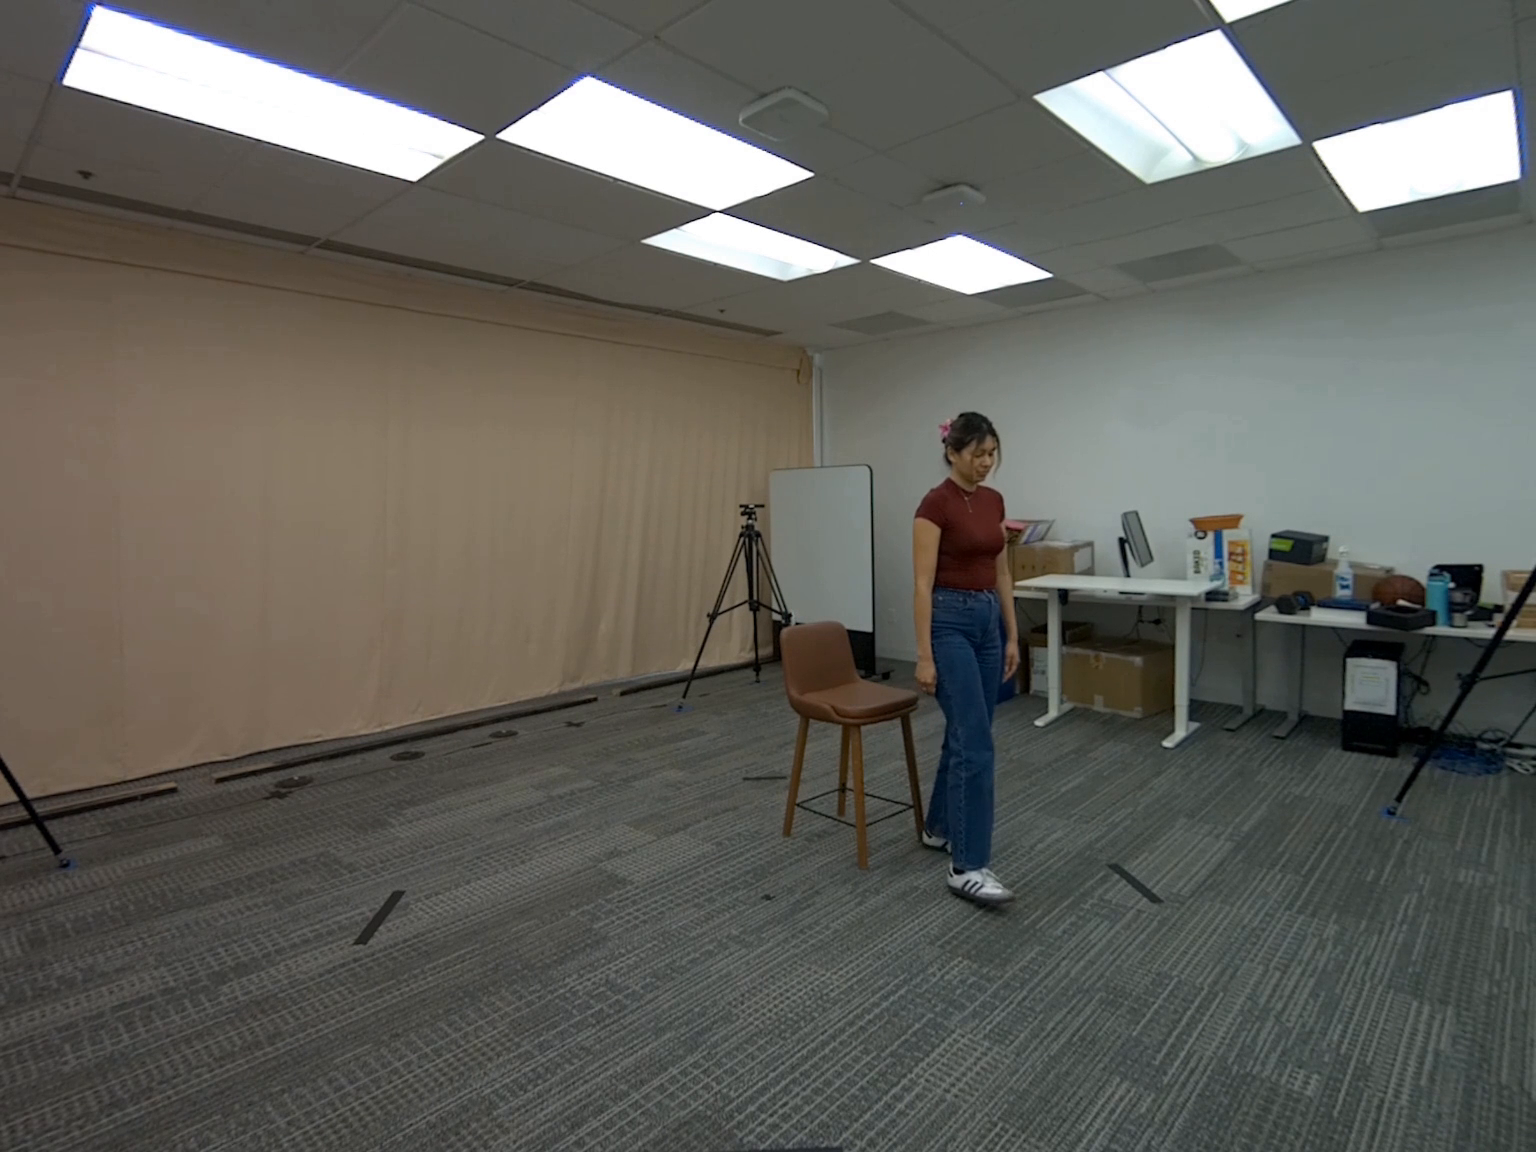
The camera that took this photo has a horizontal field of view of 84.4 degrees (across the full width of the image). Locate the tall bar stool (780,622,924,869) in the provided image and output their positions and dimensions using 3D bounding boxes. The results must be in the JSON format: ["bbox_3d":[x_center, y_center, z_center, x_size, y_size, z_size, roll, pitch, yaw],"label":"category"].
[{"bbox_3d":[0.343,0.656,3.476,0.442,0.889,0.483,-3,2,-42],"label":"tall bar stool"}]
